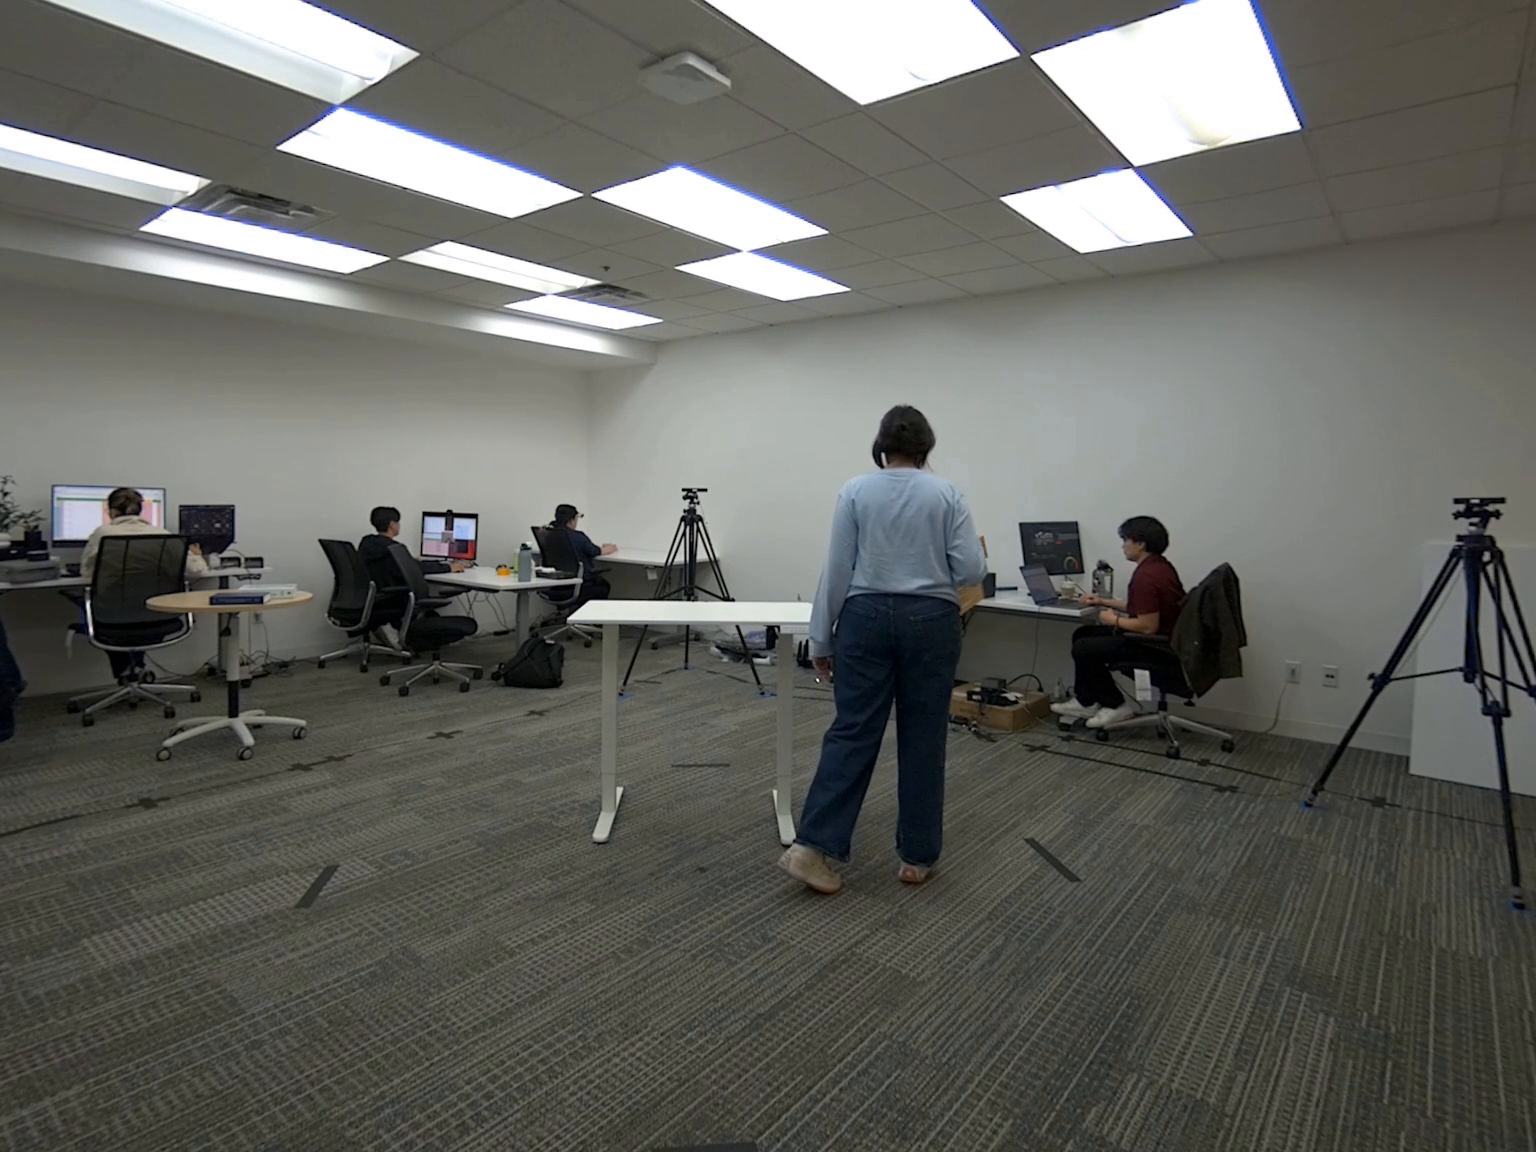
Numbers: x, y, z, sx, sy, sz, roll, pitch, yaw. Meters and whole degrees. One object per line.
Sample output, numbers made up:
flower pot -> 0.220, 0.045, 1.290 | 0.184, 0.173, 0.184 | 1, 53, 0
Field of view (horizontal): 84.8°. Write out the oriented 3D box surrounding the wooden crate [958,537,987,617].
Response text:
wooden crate -> 0.653, 0.007, 3.361 | 0.311, 0.270, 0.319 | -3, 16, 45
